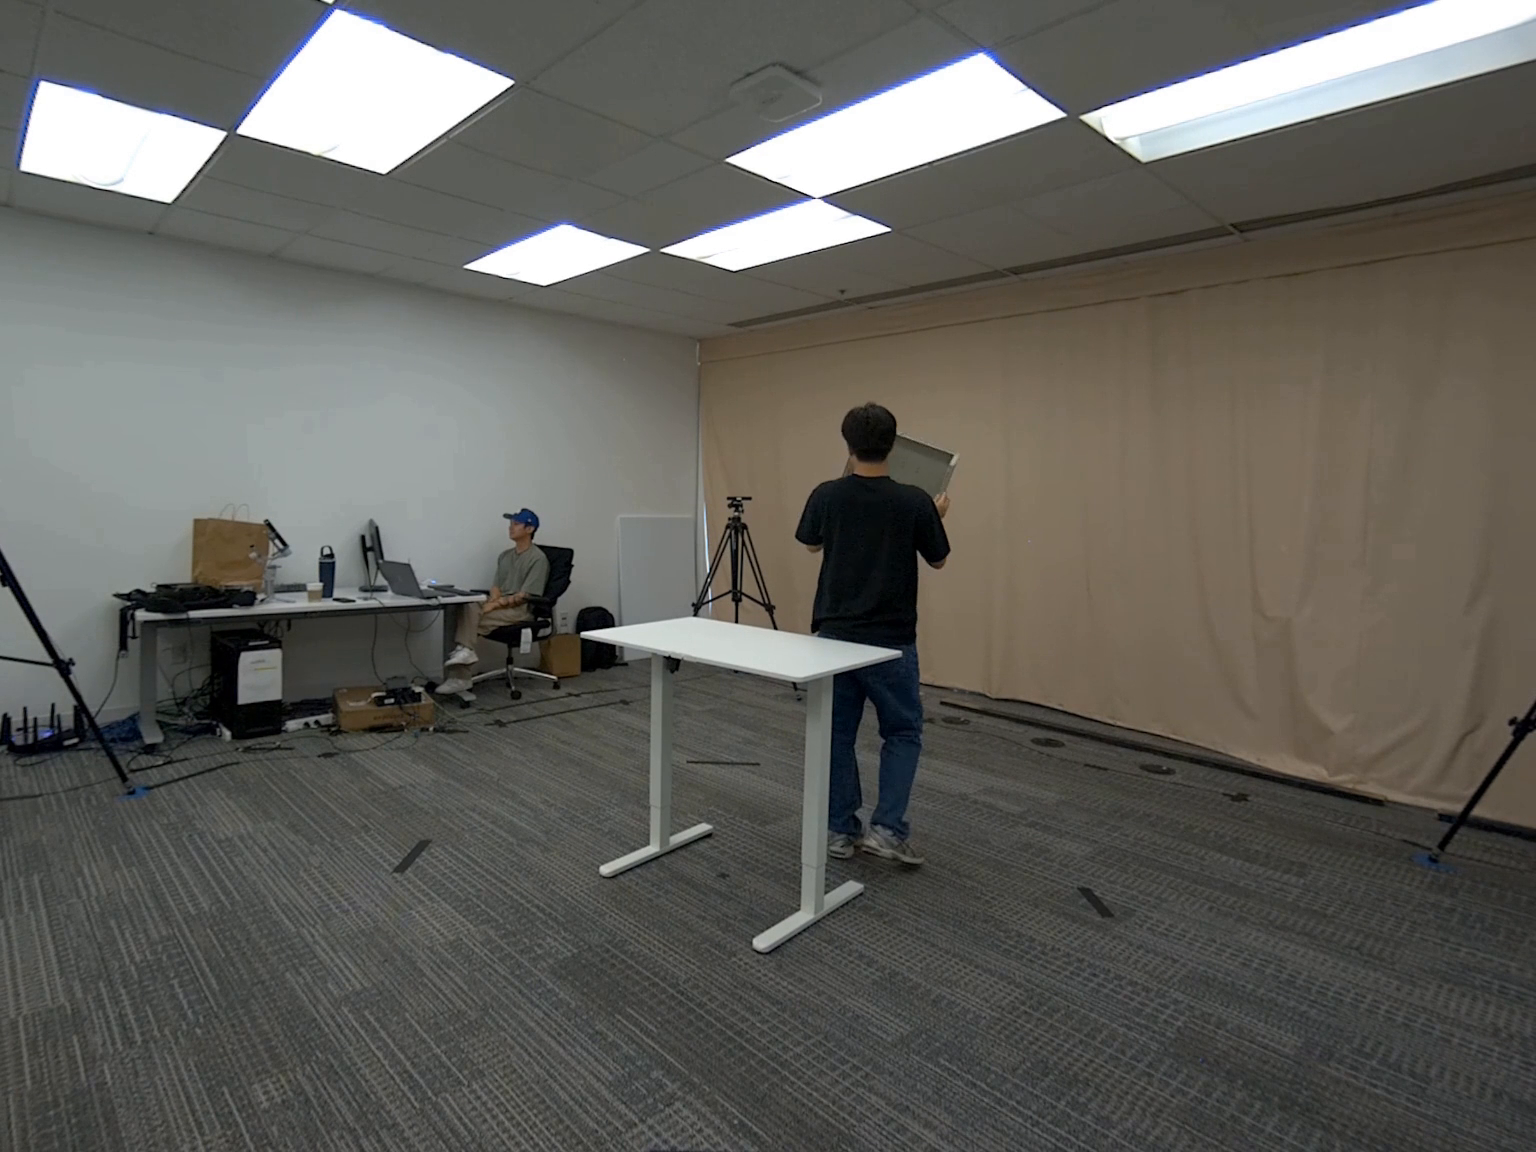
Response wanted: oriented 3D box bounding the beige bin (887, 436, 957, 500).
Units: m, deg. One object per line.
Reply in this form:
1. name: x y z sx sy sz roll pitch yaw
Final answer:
1. beige bin: 0.542 -0.406 3.579 0.429 0.374 0.187 23 17 15
